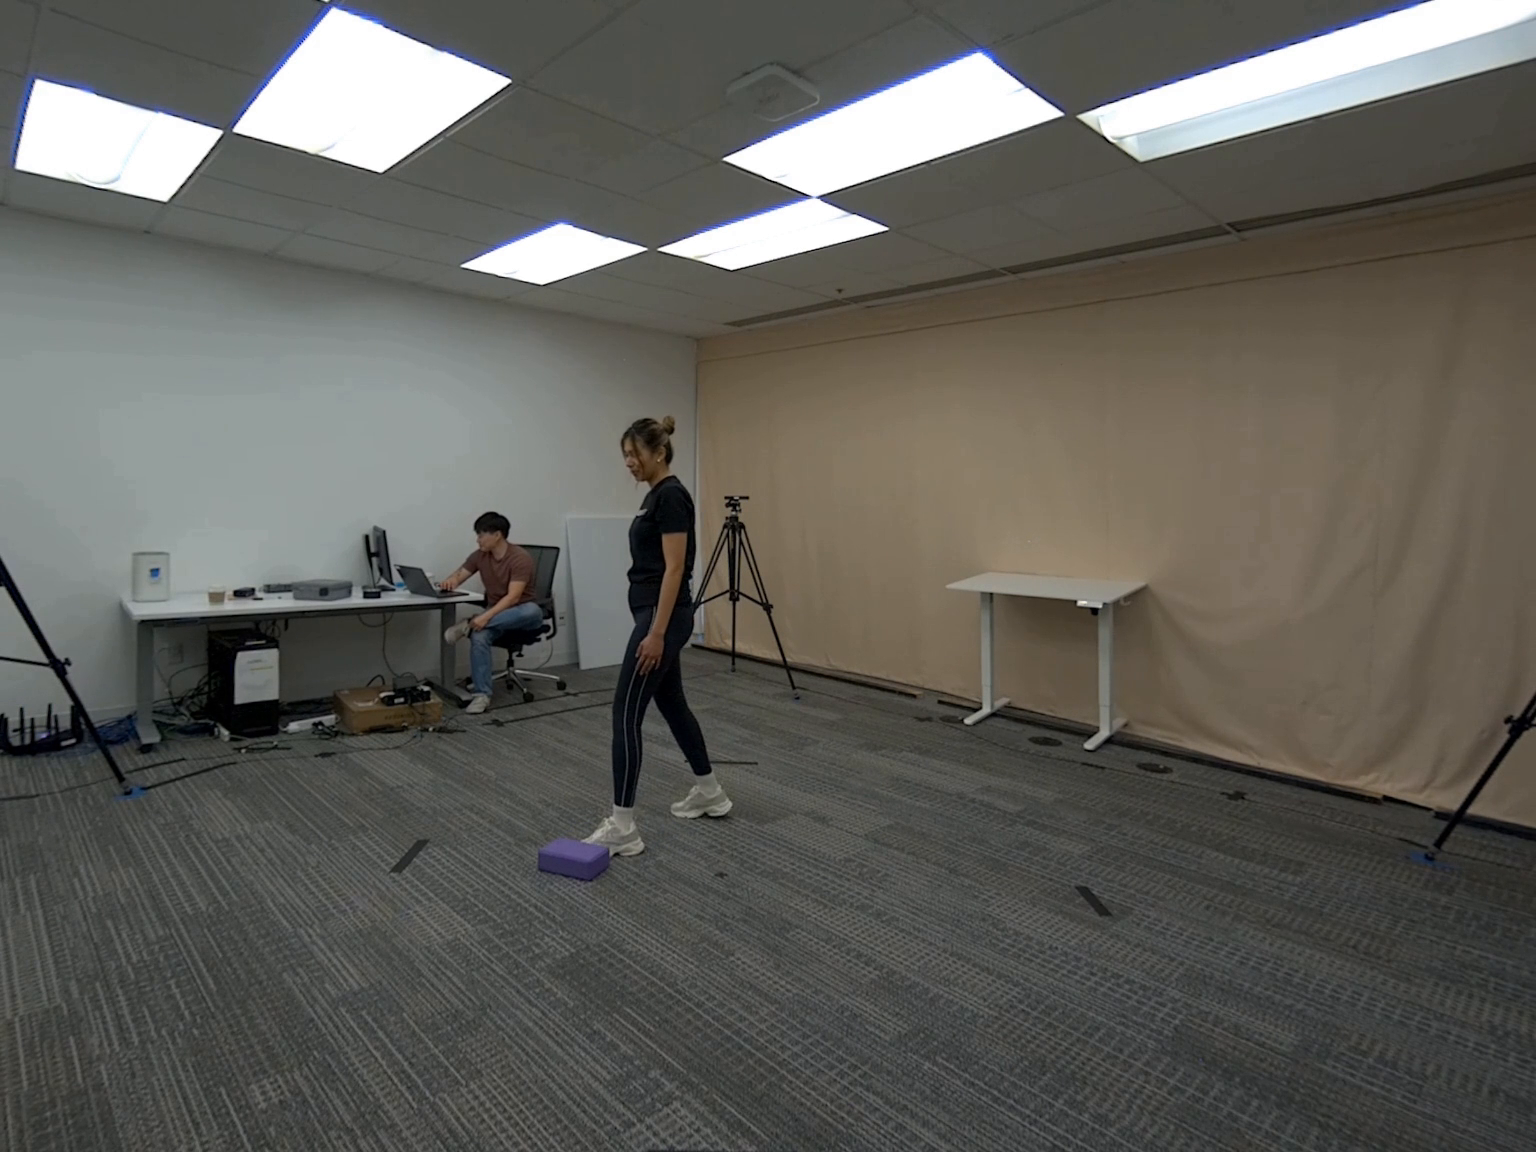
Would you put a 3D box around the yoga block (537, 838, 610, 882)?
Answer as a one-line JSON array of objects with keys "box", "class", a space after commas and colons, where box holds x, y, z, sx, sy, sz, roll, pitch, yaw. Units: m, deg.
[{"box": [-0.727, 1.045, 3.122, 0.233, 0.076, 0.147, 4, 4, 22], "class": "yoga block"}]
